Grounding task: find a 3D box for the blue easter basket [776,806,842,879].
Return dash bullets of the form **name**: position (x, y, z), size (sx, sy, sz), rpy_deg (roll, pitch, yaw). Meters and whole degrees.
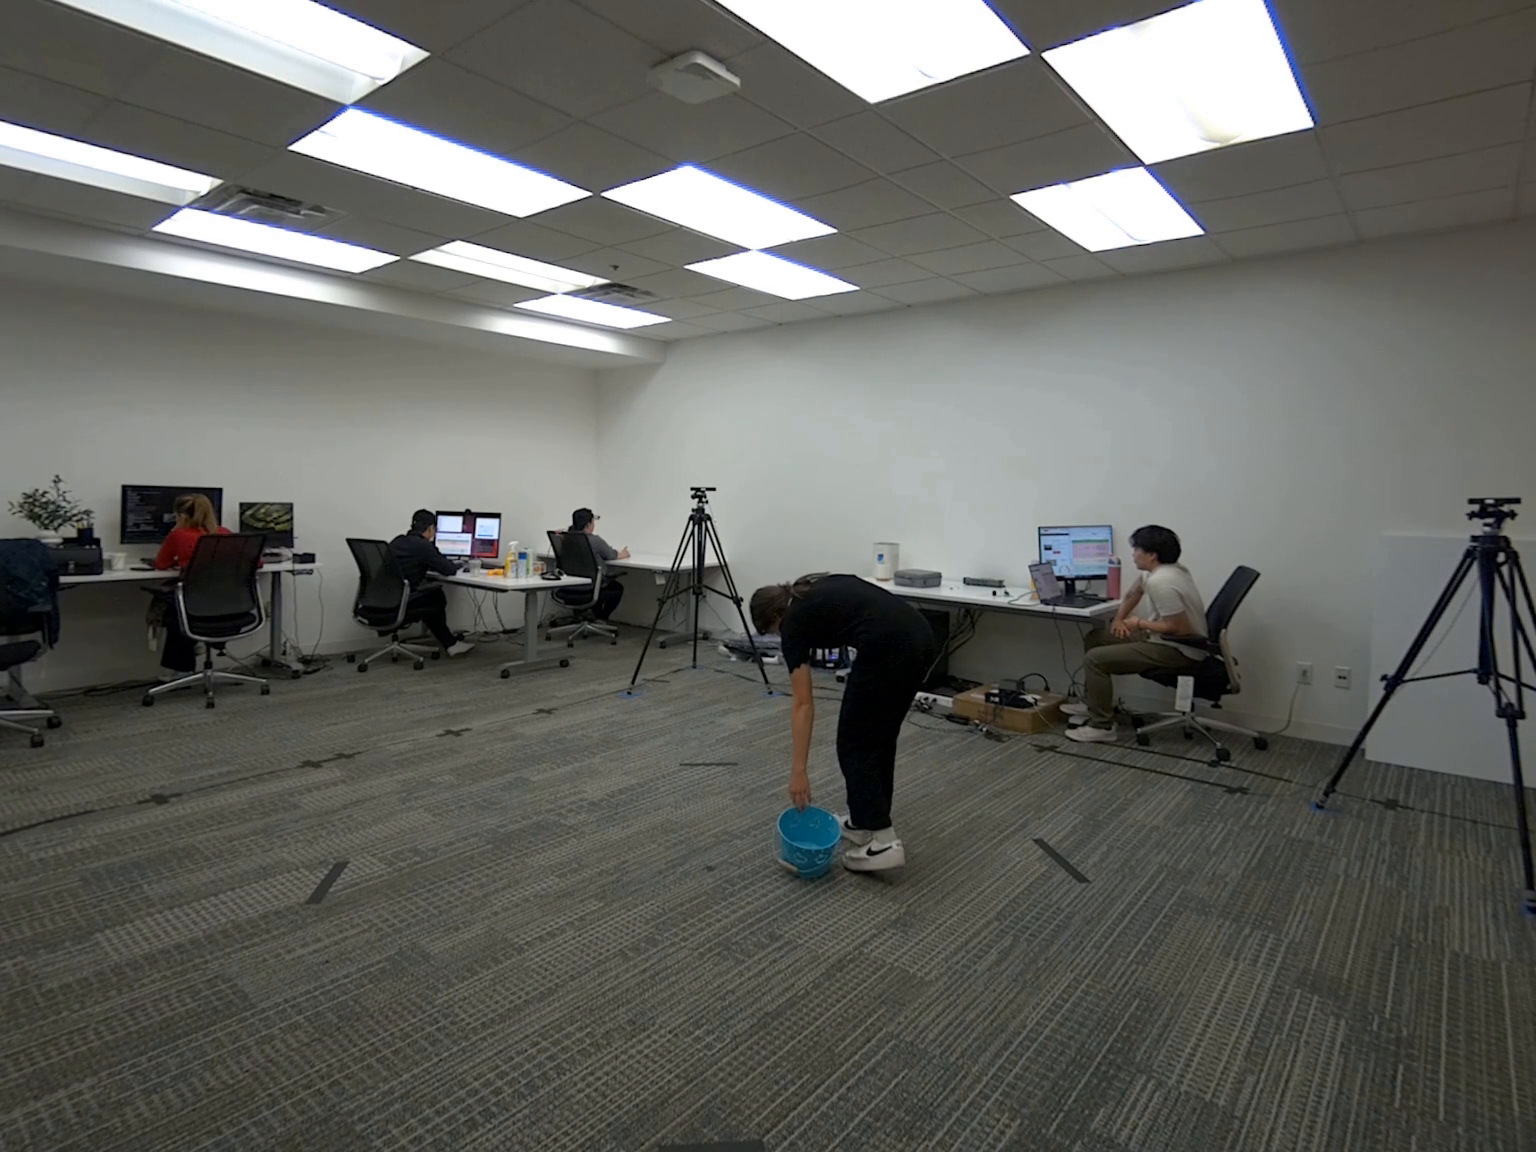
- **blue easter basket**: position (0.141, 0.972, 3.115), size (0.243, 0.153, 0.248), rpy_deg (5, 21, -4)
